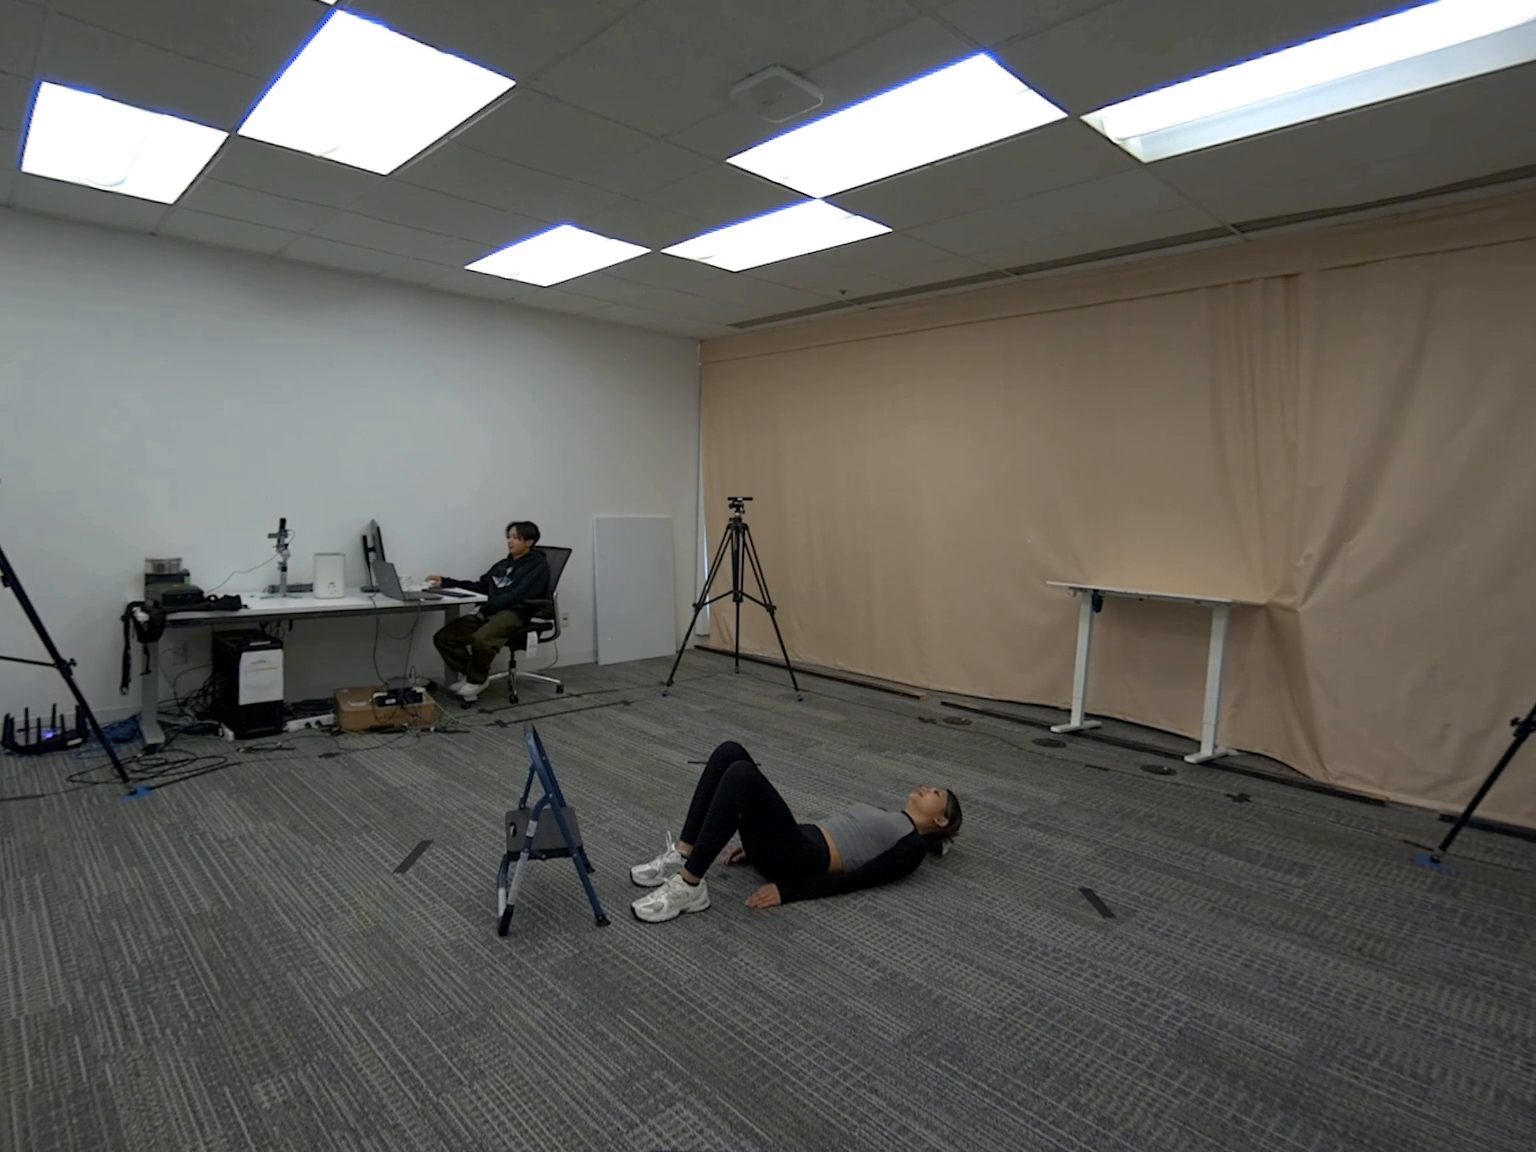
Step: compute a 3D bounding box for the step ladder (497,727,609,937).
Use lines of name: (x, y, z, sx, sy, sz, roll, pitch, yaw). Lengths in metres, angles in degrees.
step ladder: (-0.745, 0.817, 2.862, 0.344, 0.604, 0.438, 1, 4, -19)
